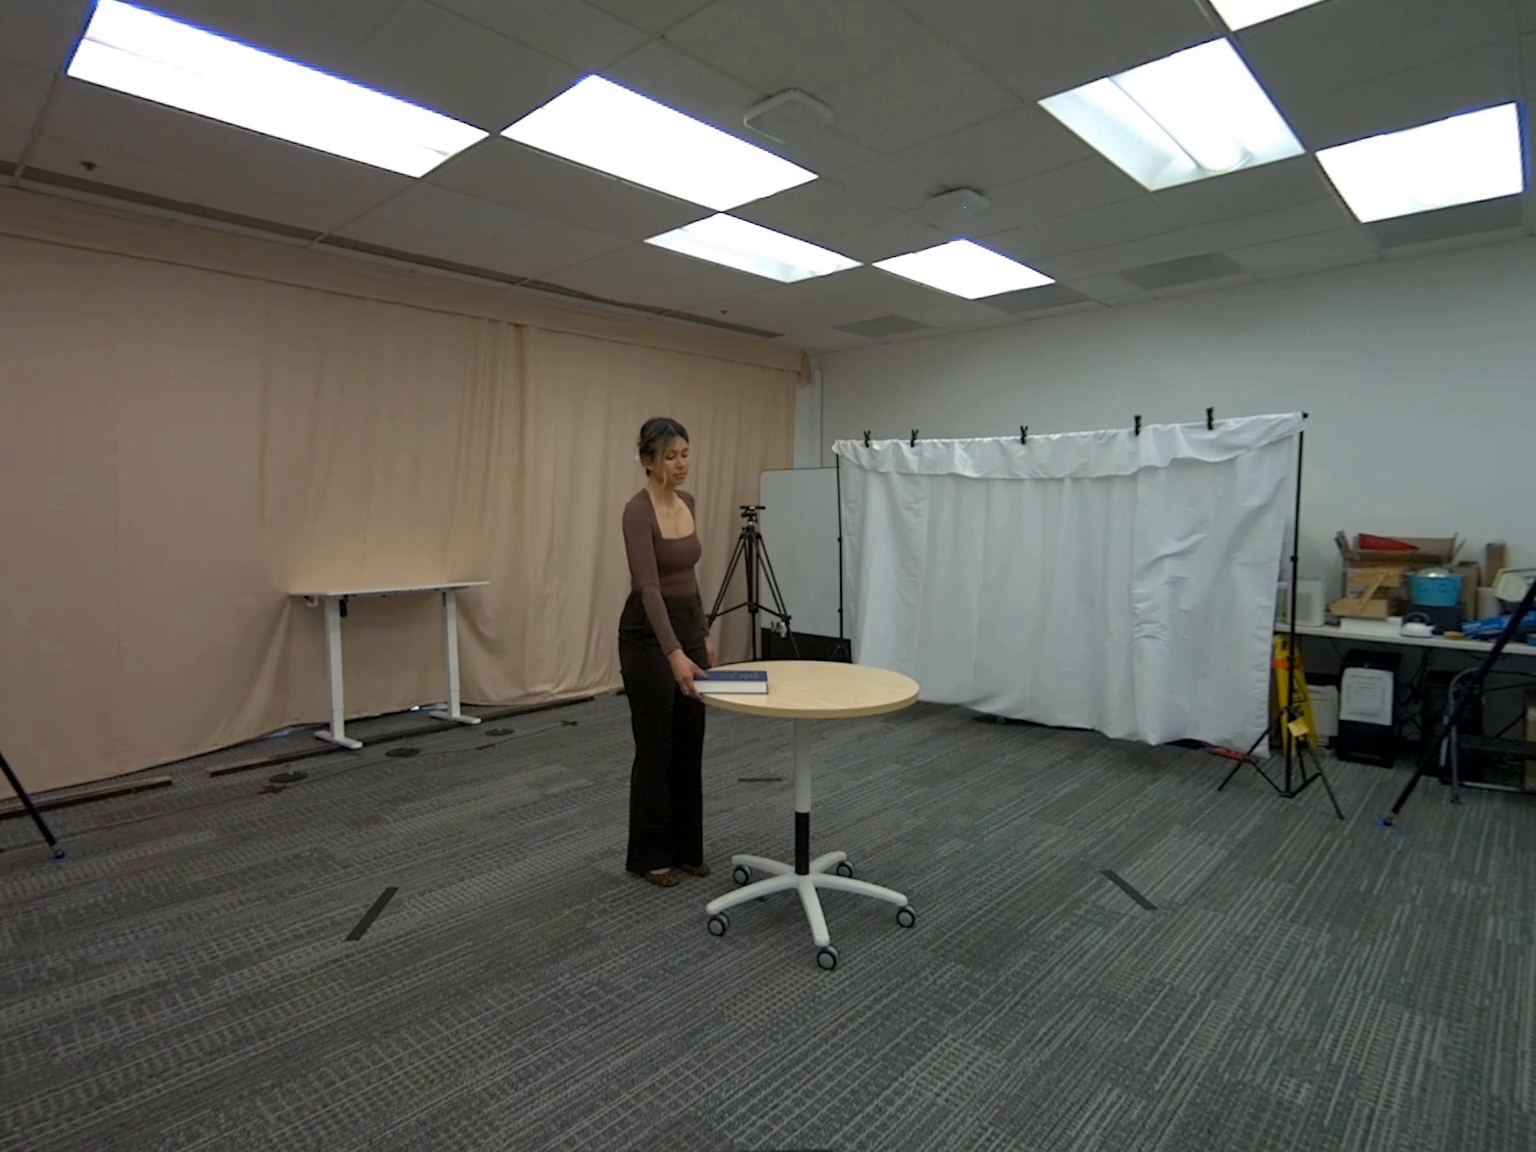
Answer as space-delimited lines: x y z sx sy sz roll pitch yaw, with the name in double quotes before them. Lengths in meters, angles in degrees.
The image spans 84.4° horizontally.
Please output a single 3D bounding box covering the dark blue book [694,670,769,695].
"dark blue book" -0.116 0.347 2.724 0.245 0.045 0.164 0 5 0
